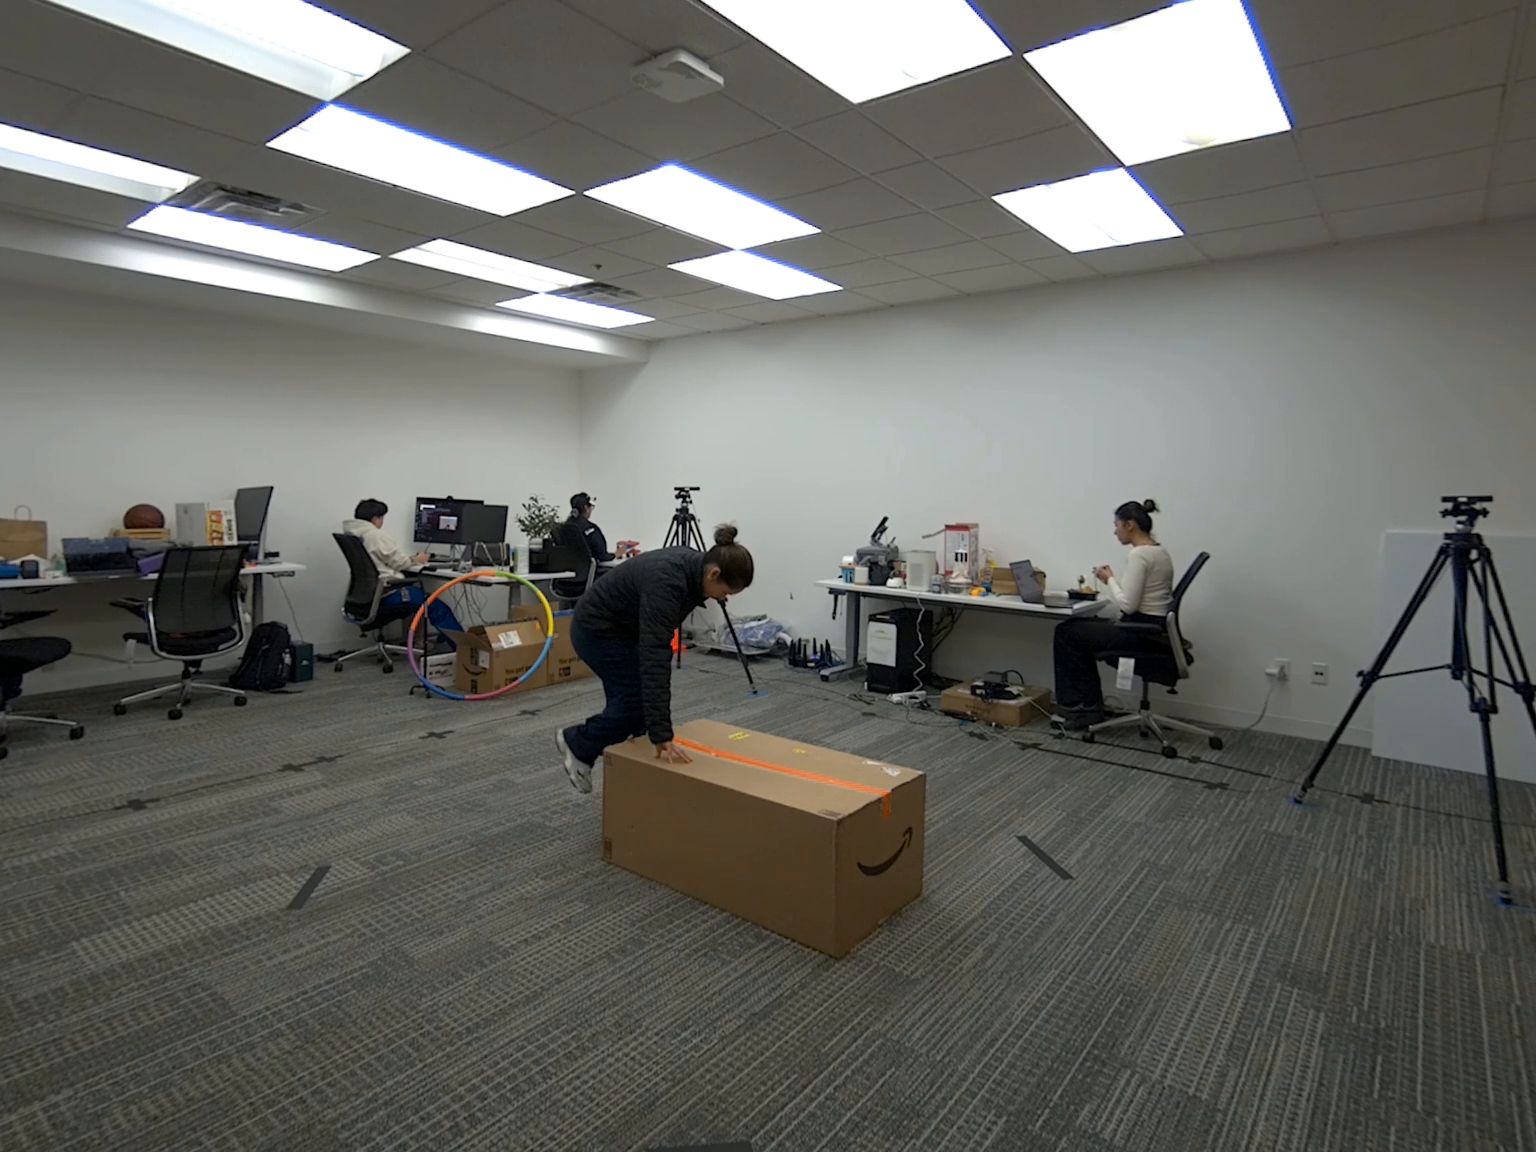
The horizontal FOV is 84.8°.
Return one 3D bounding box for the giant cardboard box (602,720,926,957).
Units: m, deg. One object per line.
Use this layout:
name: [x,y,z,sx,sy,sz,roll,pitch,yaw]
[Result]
giant cardboard box: [-0.024,0.866,3.058,1.062,0.445,0.567,6,8,38]
